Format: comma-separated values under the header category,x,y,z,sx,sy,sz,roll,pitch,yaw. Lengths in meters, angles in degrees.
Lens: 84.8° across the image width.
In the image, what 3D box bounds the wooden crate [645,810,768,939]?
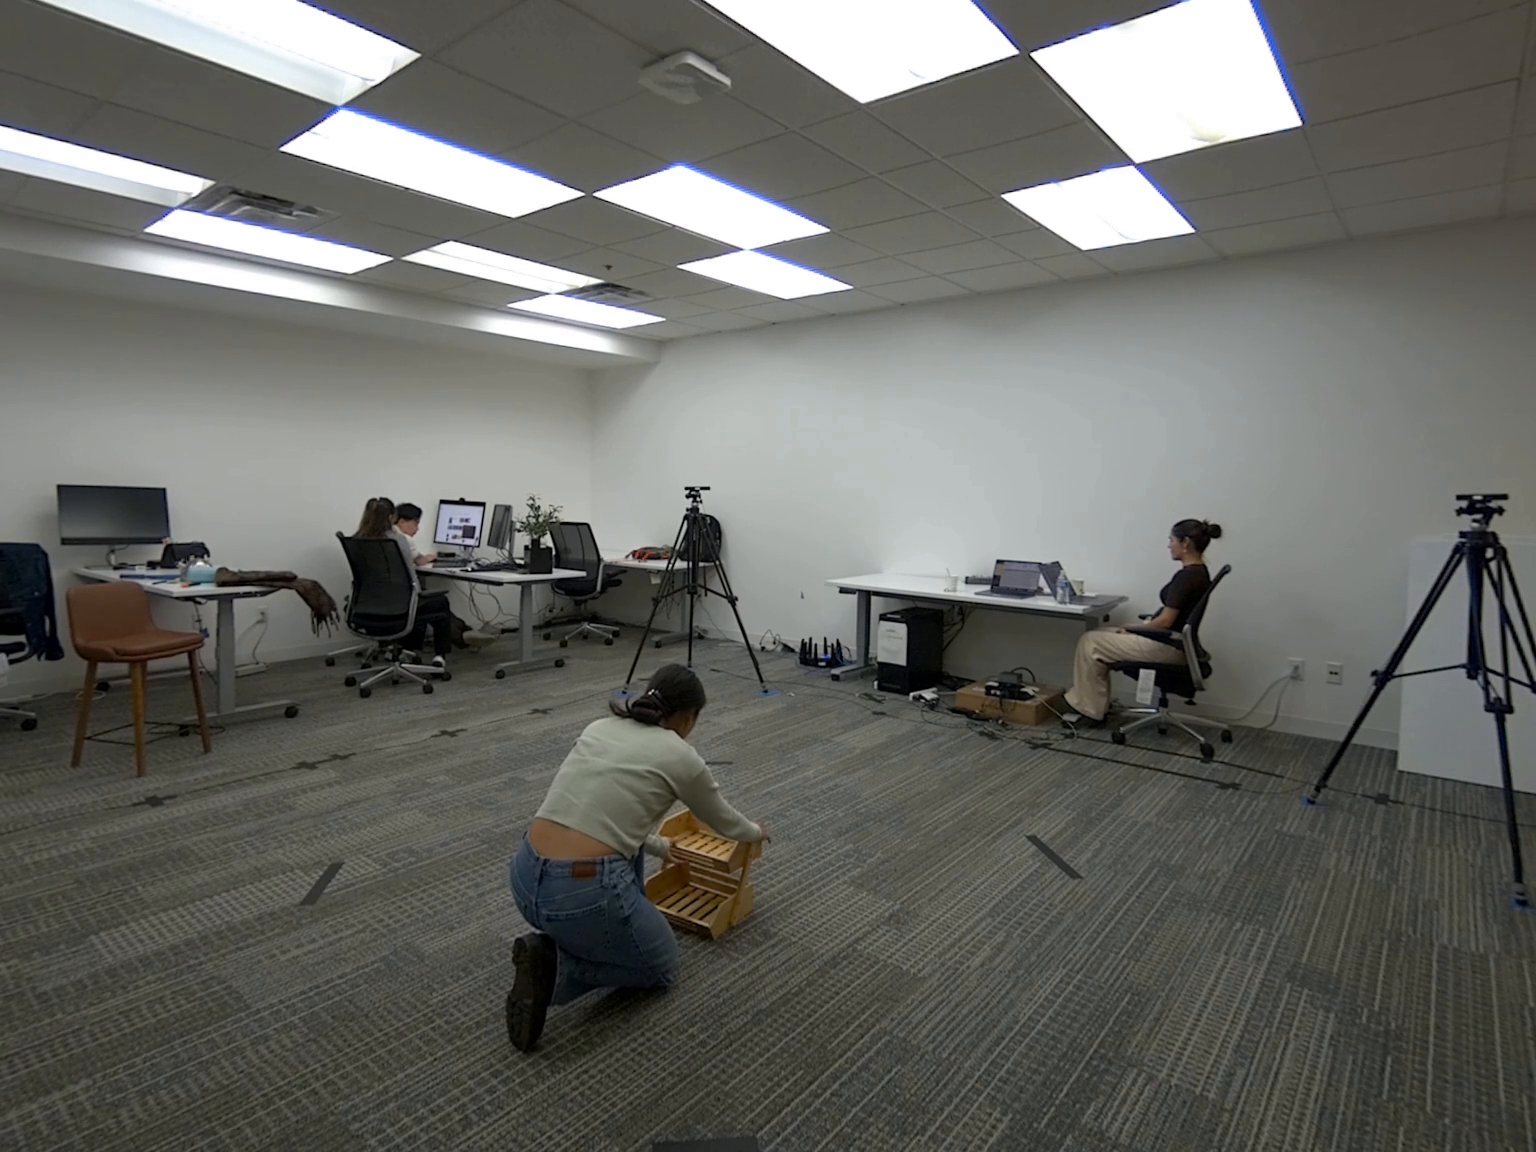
category,x,y,z,sx,sy,sz,roll,pitch,yaw
wooden crate,-0.236,0.963,2.792,0.334,0.273,0.294,3,3,31
